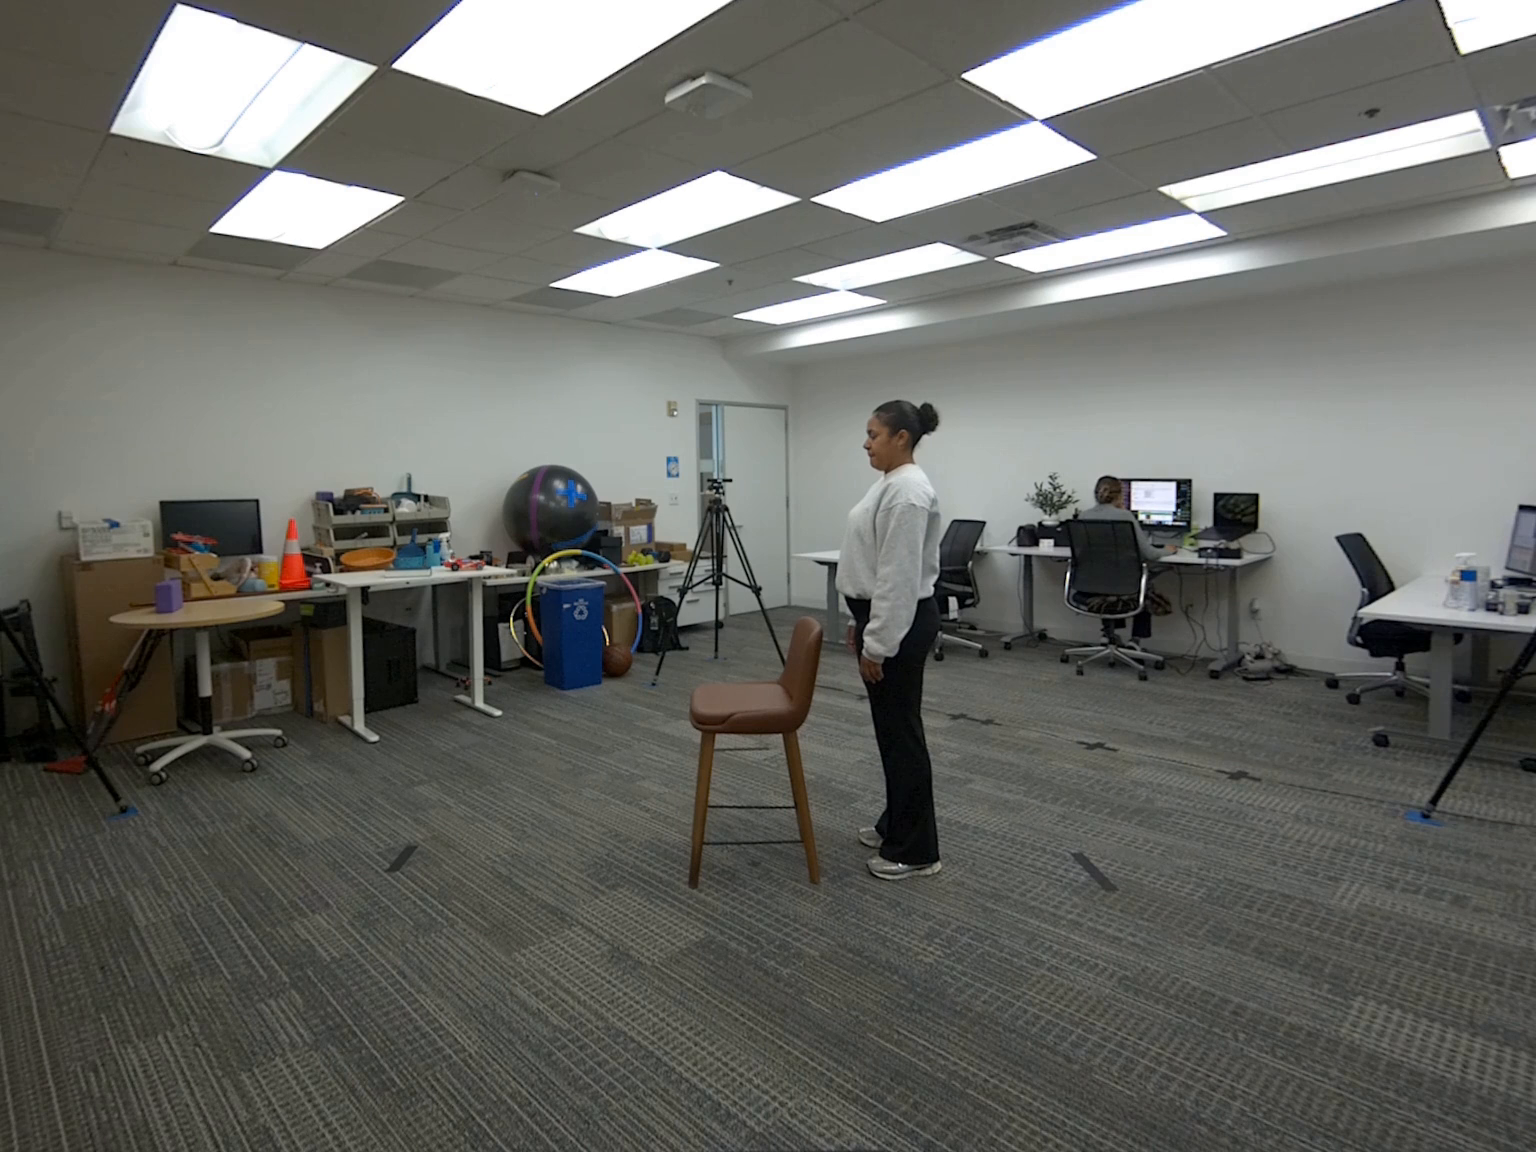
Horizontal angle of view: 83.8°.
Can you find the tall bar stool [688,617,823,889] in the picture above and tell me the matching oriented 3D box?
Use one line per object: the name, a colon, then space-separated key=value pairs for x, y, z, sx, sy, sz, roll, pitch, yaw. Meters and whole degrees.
tall bar stool: x=-0.046 y=0.611 z=3.091 sx=0.467 sy=0.887 sz=0.458 roll=1 pitch=4 yaw=-1
